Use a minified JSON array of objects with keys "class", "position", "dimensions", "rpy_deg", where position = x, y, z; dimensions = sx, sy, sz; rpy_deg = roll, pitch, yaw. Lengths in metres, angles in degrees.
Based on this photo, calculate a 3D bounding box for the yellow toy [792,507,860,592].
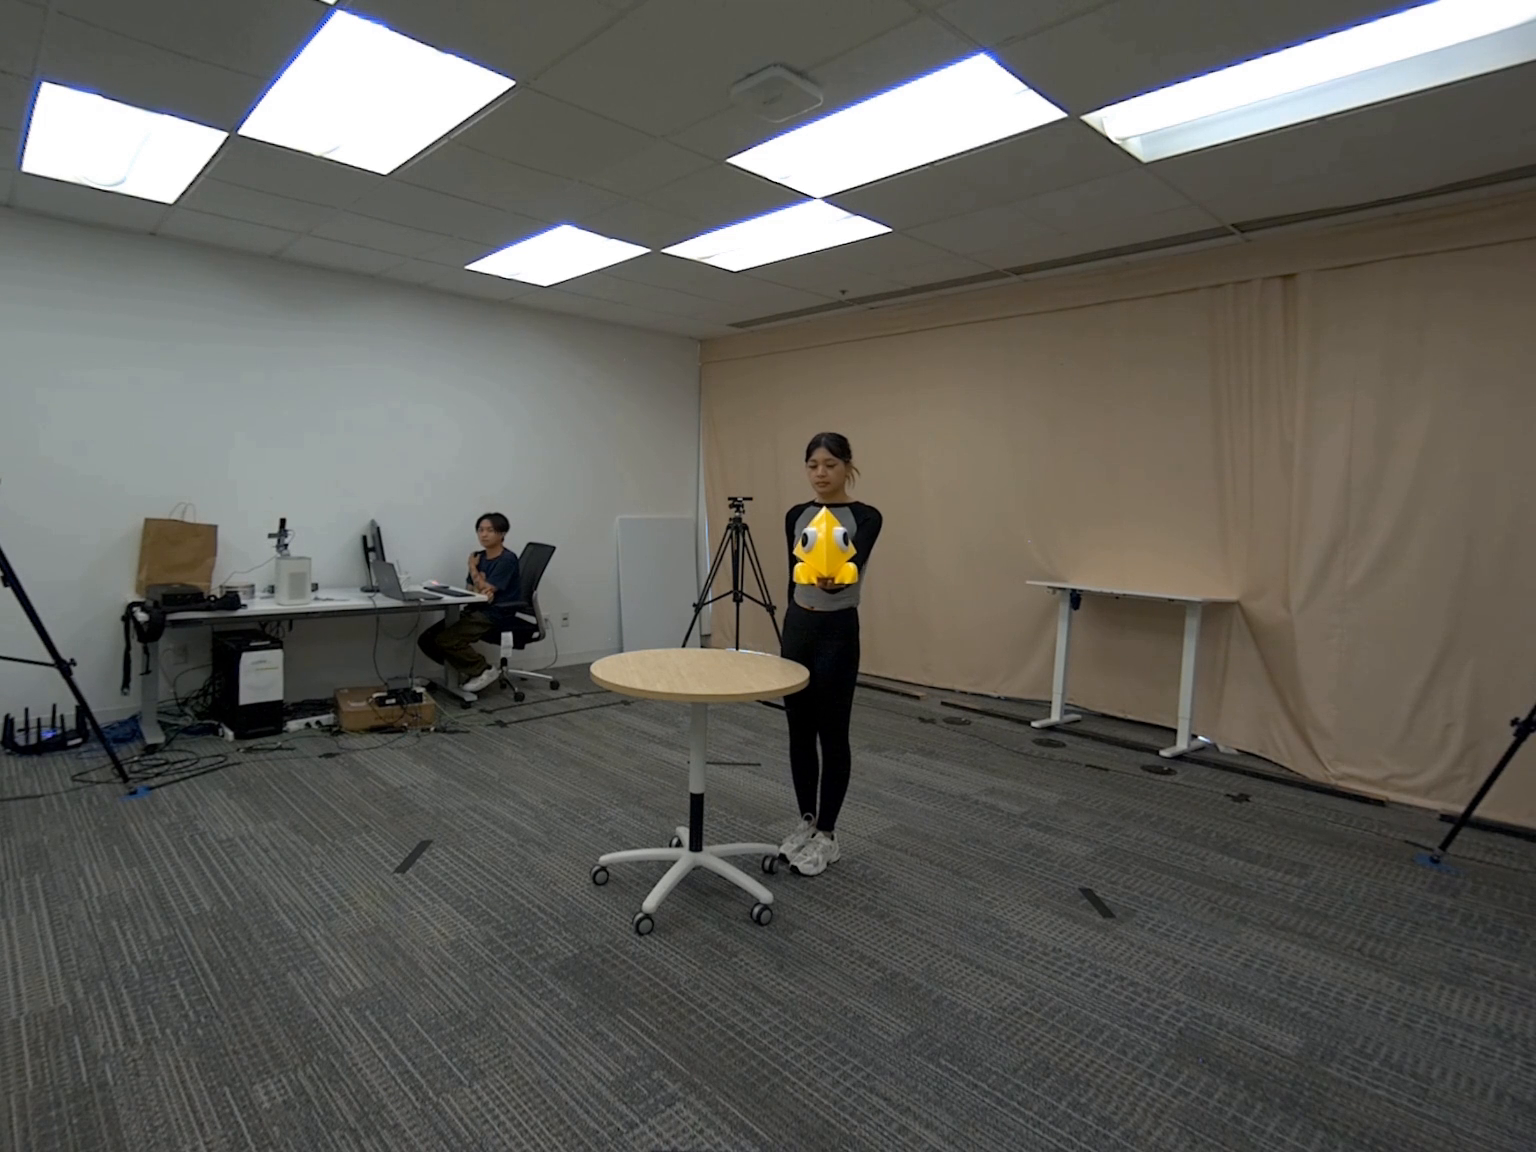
[{"class":"yellow toy","position":[0.169,-0.097,2.640],"dimensions":[0.205,0.230,0.193],"rpy_deg":[0,6,3]}]
